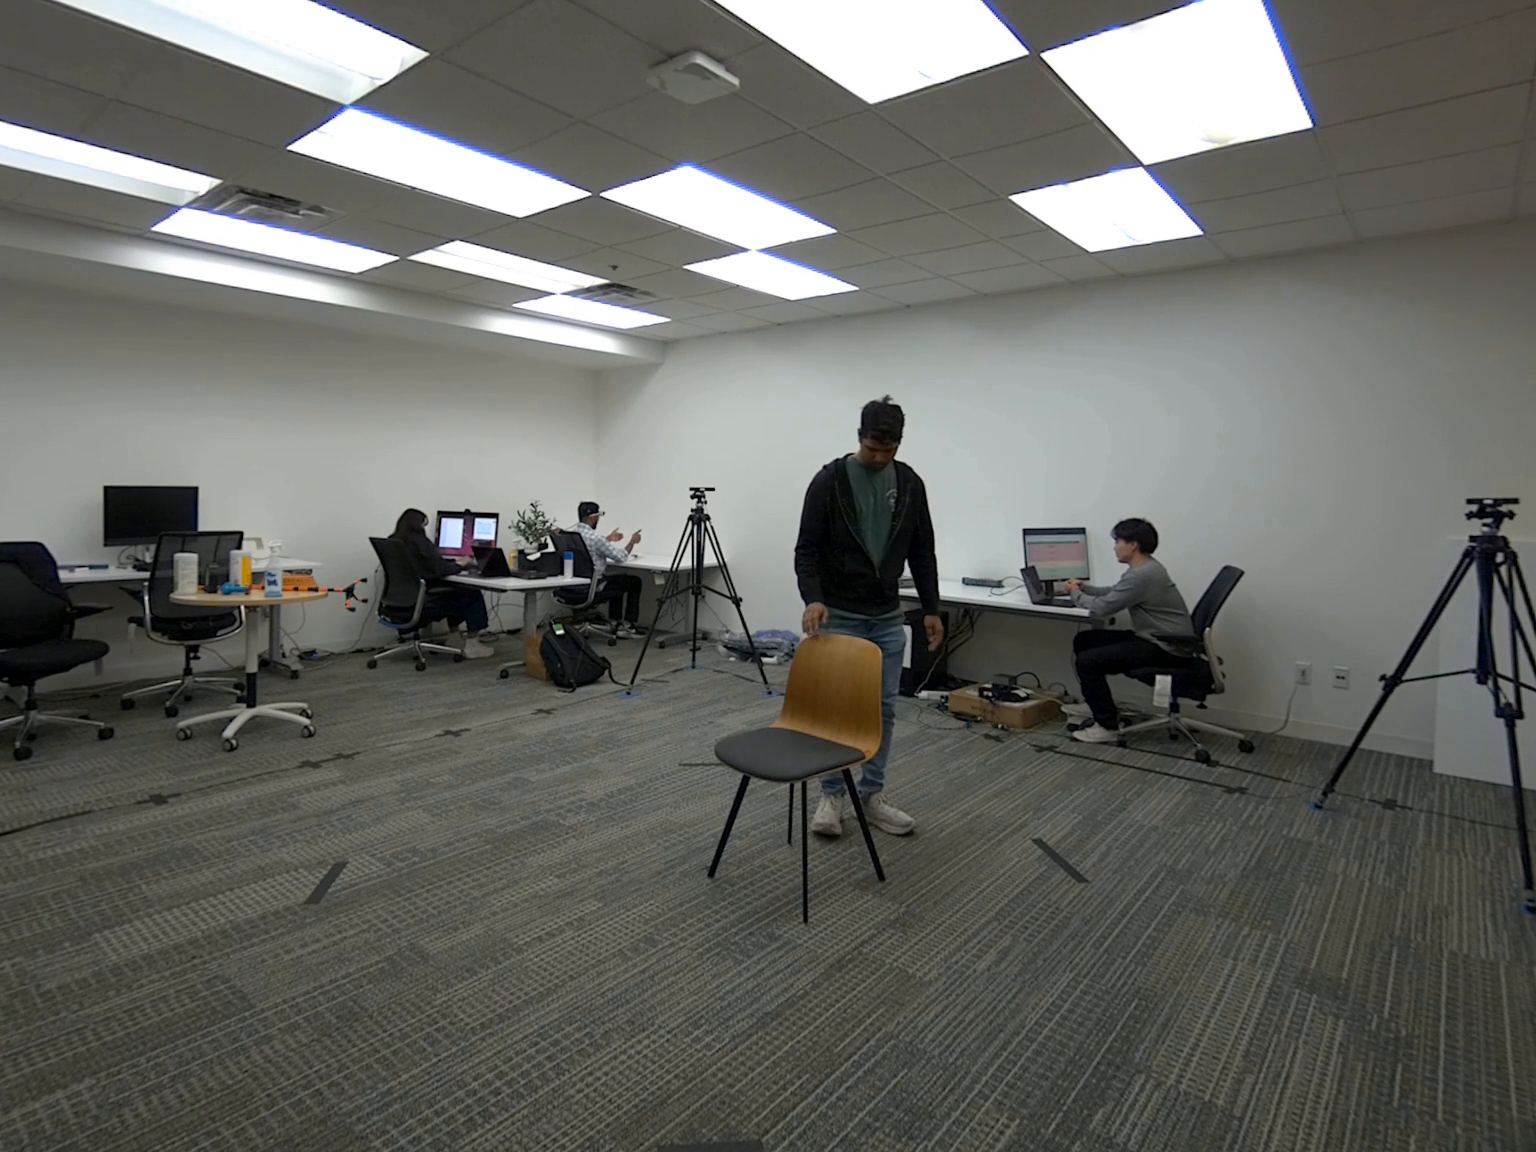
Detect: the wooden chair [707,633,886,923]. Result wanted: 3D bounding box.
[{"bbox_3d":[0.095,0.658,3.009,0.495,0.877,0.505,5,1,43],"label":"wooden chair"}]
